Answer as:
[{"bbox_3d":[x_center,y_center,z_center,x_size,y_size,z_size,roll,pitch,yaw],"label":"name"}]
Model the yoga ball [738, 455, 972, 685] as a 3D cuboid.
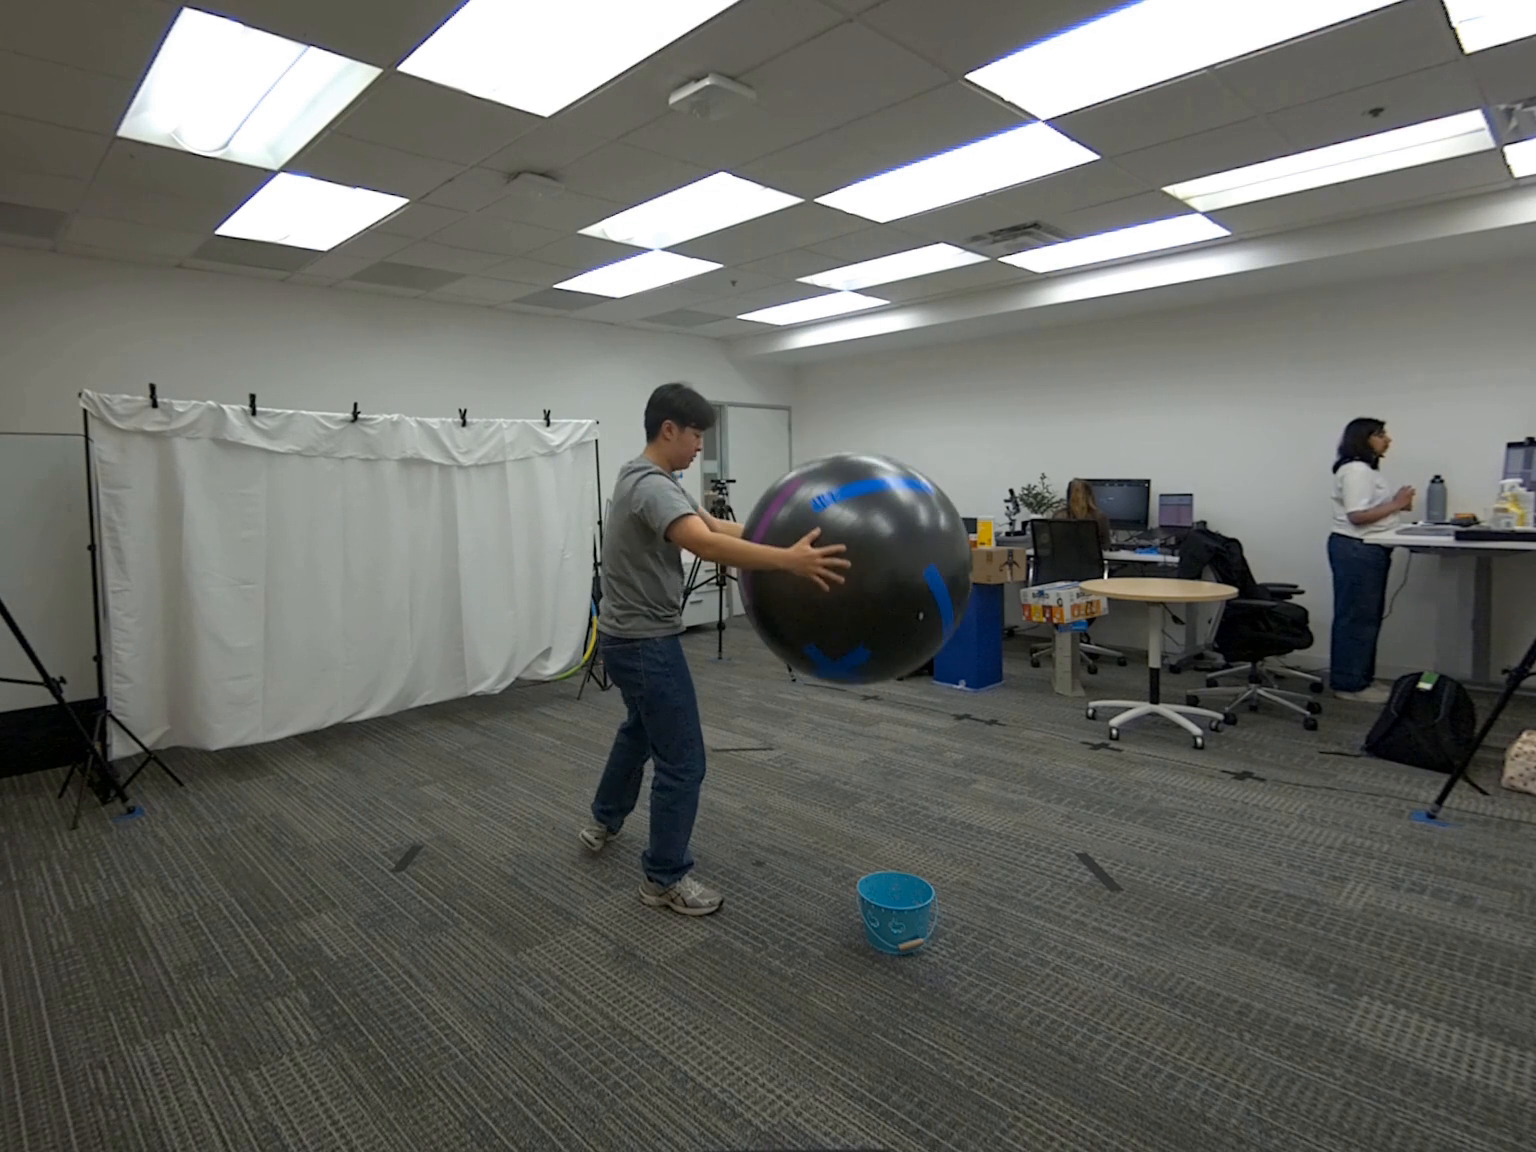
[{"bbox_3d":[0.264,-0.032,2.805,0.757,0.755,0.762,-1,5,-2],"label":"yoga ball"}]
